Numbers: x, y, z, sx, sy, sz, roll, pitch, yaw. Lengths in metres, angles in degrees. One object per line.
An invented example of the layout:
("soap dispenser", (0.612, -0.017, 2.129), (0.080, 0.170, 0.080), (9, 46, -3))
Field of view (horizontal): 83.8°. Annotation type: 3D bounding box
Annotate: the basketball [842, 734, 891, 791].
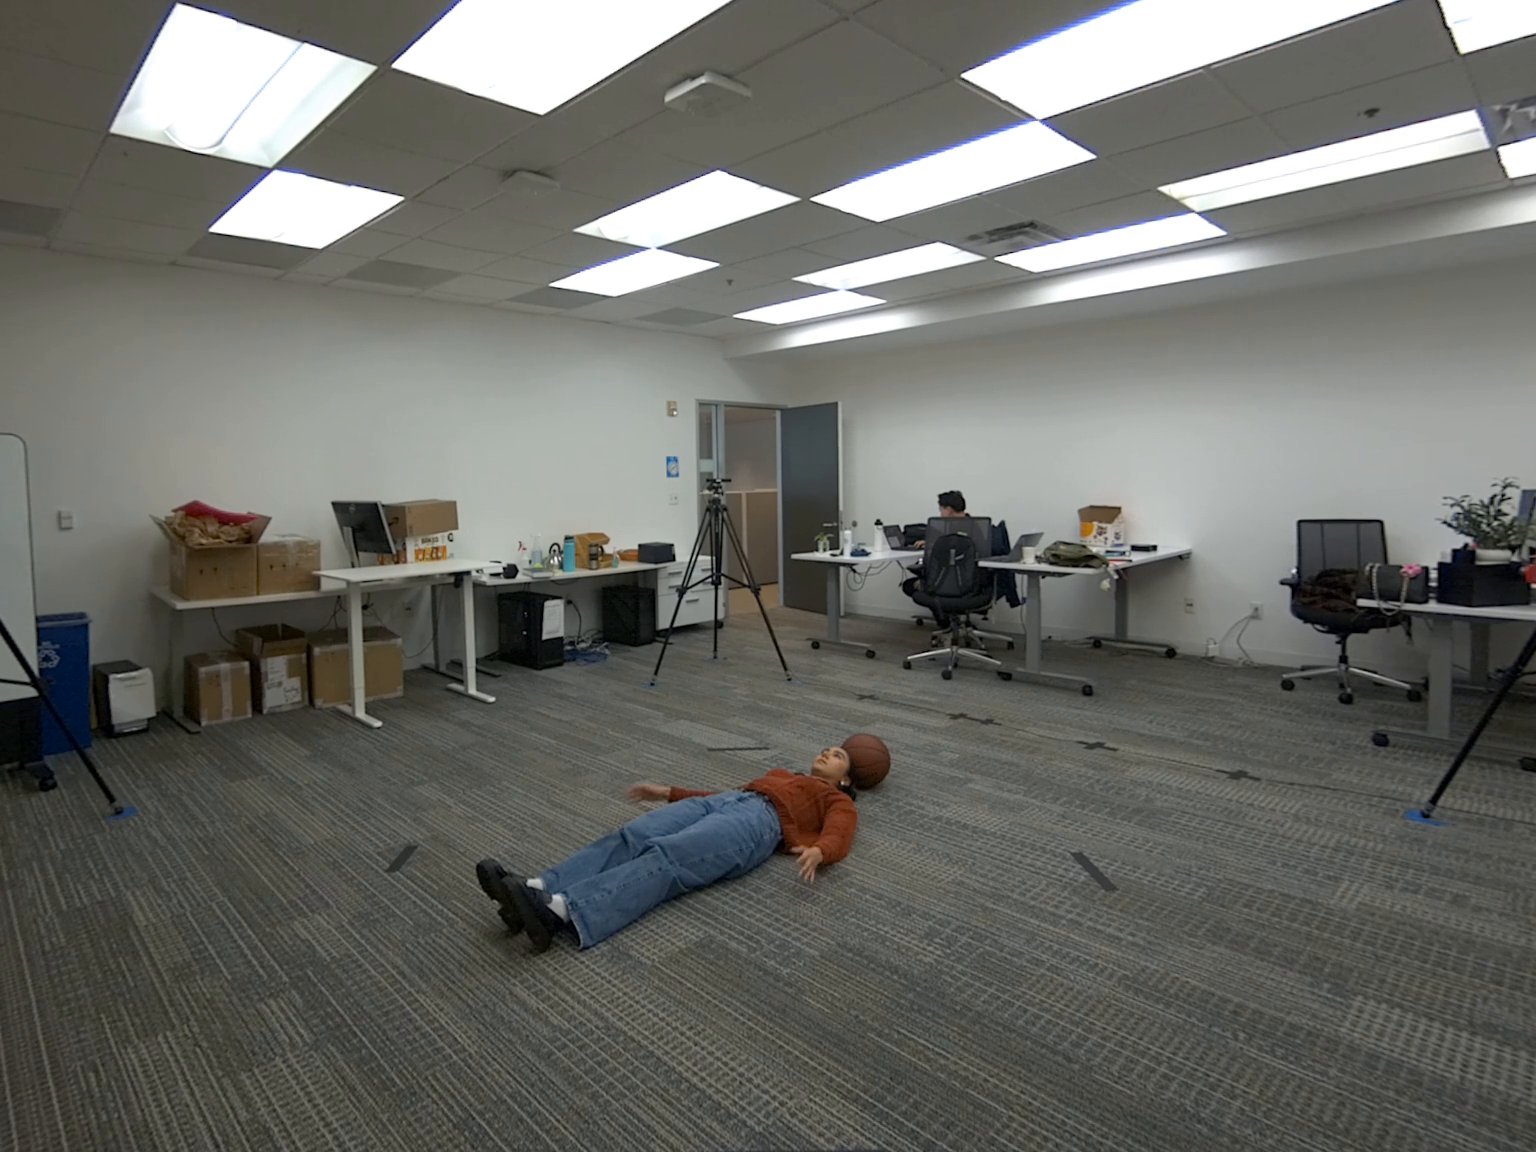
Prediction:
("basketball", (0.434, 0.831, 3.858), (0.236, 0.236, 0.236), (0, 1, -2))
